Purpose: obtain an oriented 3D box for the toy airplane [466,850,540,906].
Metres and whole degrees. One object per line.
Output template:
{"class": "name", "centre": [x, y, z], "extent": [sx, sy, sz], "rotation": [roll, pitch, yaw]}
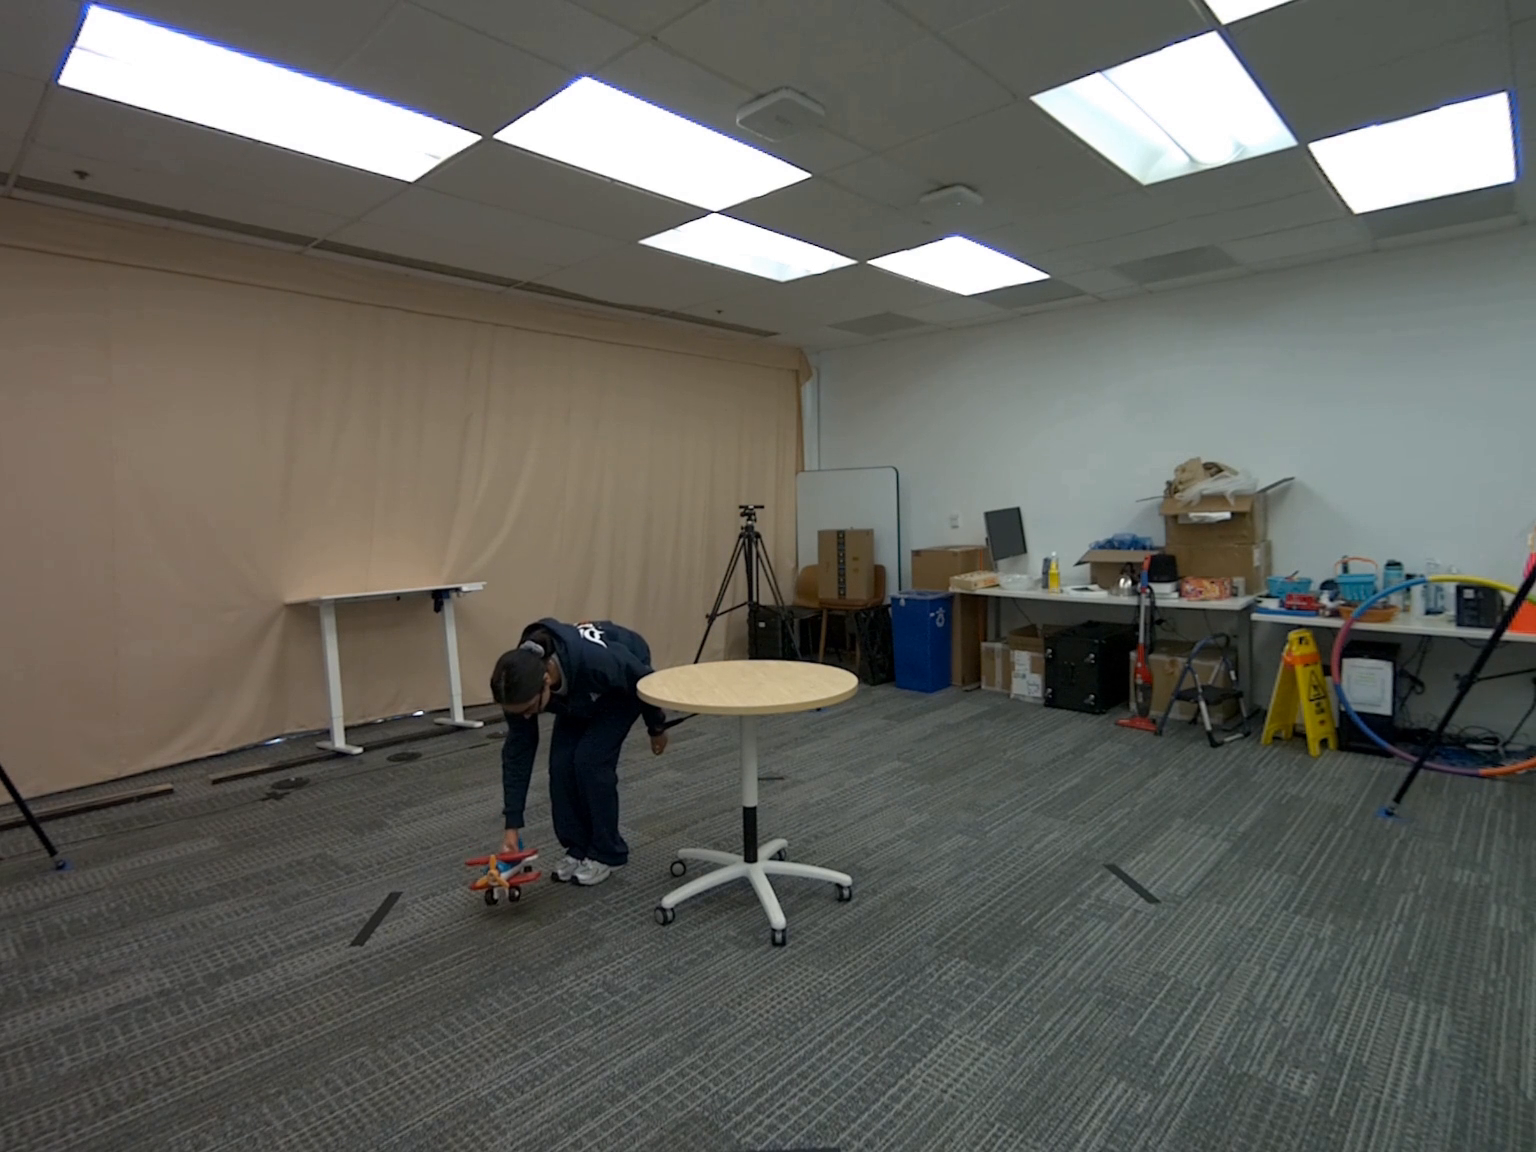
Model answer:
{"class": "toy airplane", "centre": [-0.918, 1.016, 2.926], "extent": [0.247, 0.155, 0.265], "rotation": [-16, 8, -20]}
